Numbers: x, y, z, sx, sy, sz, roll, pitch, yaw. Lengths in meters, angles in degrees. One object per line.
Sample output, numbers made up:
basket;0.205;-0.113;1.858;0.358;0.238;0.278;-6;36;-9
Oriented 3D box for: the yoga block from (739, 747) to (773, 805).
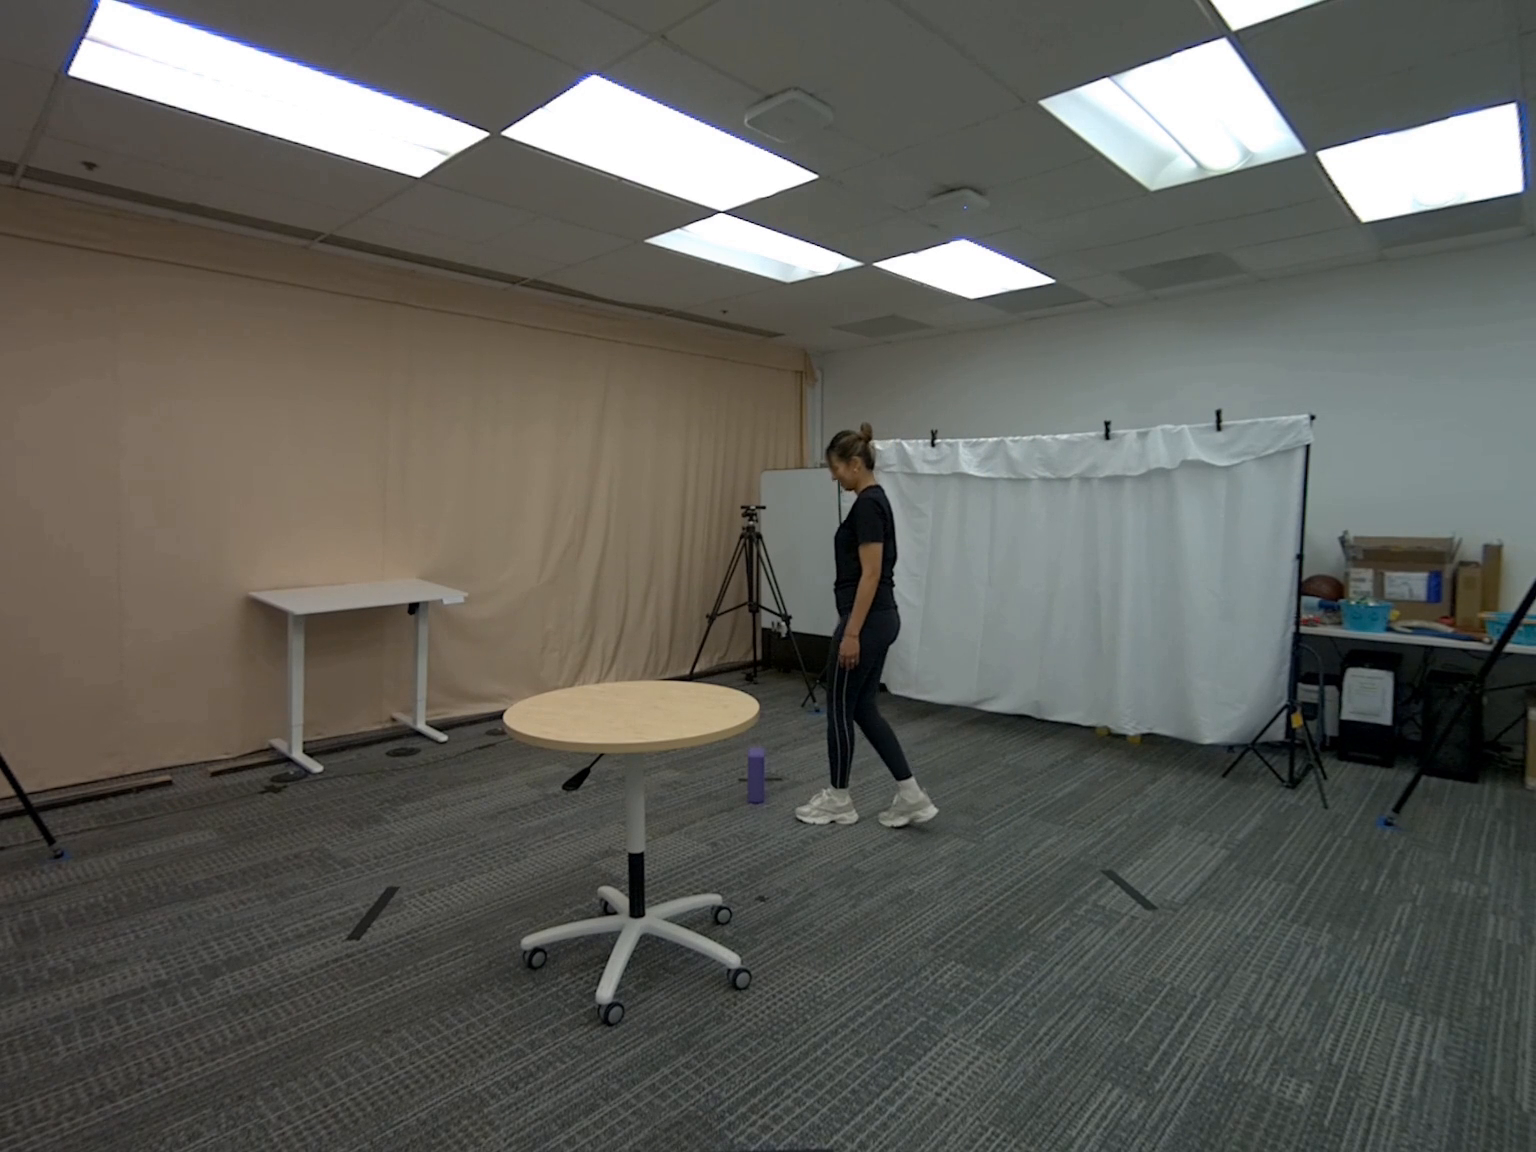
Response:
yoga block;-0.057;0.948;4.015;0.077;0.229;0.148;0;0;2
